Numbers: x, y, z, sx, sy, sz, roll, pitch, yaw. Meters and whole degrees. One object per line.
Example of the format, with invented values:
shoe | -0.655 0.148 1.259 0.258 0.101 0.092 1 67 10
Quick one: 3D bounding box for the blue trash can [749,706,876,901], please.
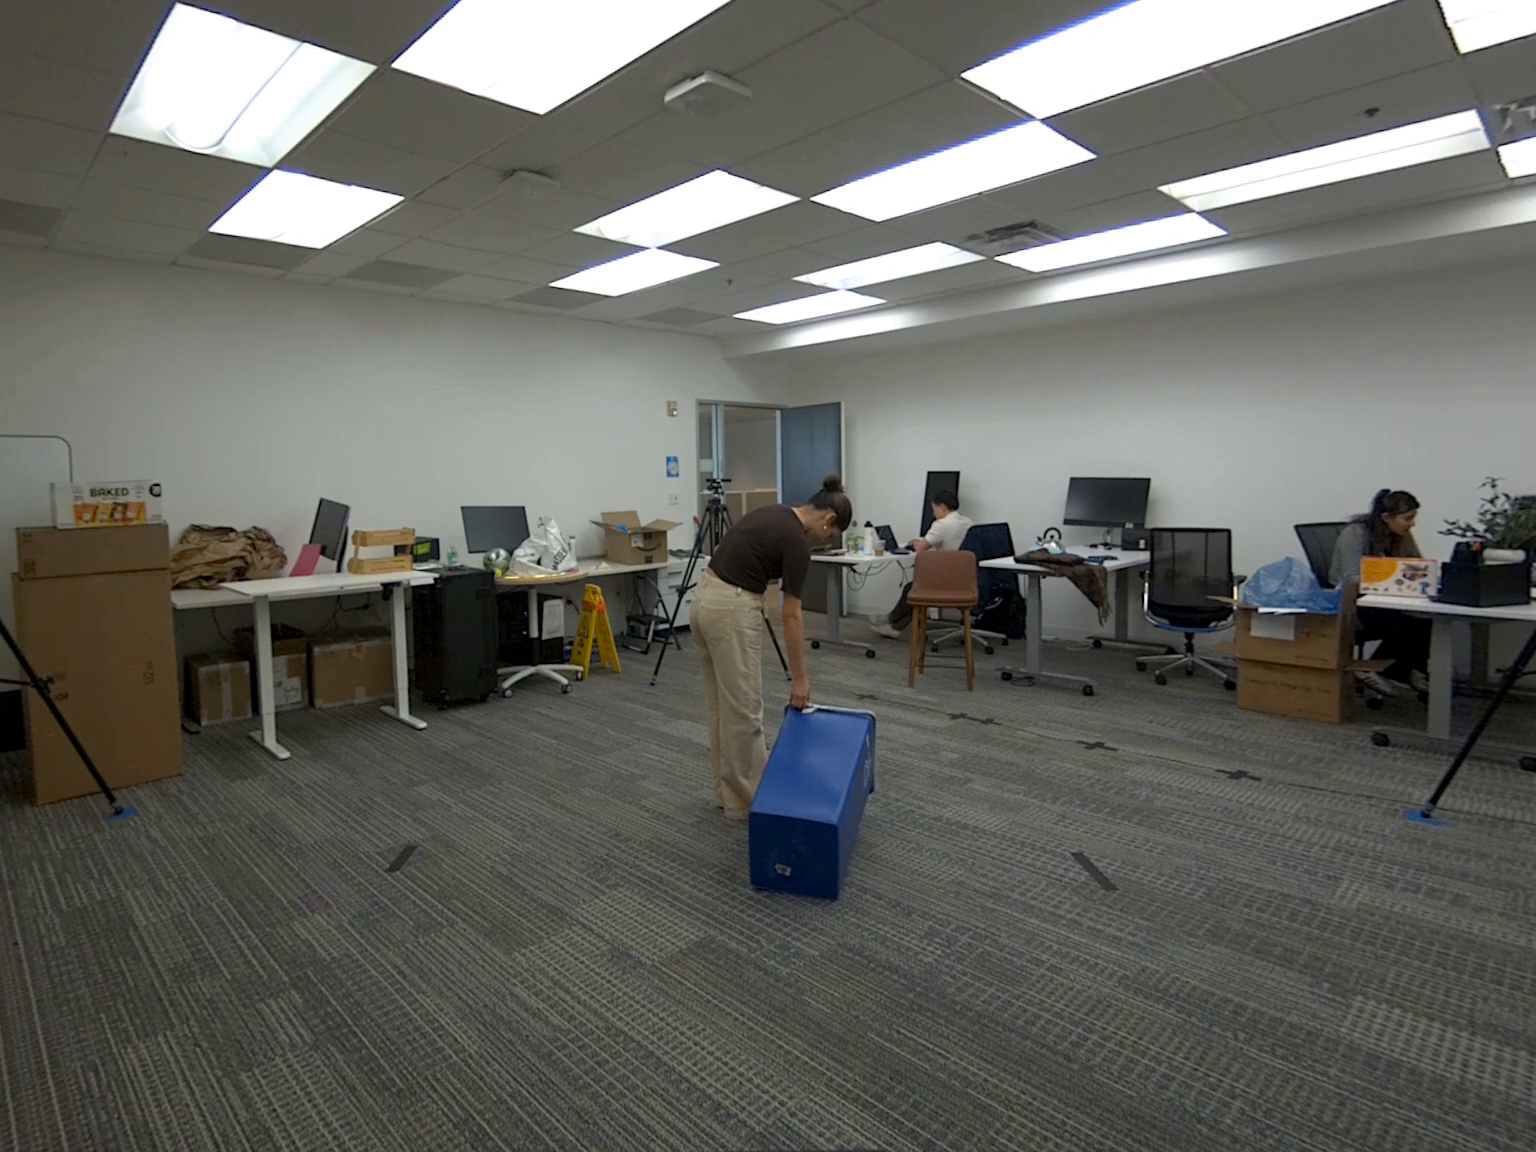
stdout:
blue trash can | 0.168 0.813 3.139 0.384 0.368 0.714 3 20 15
